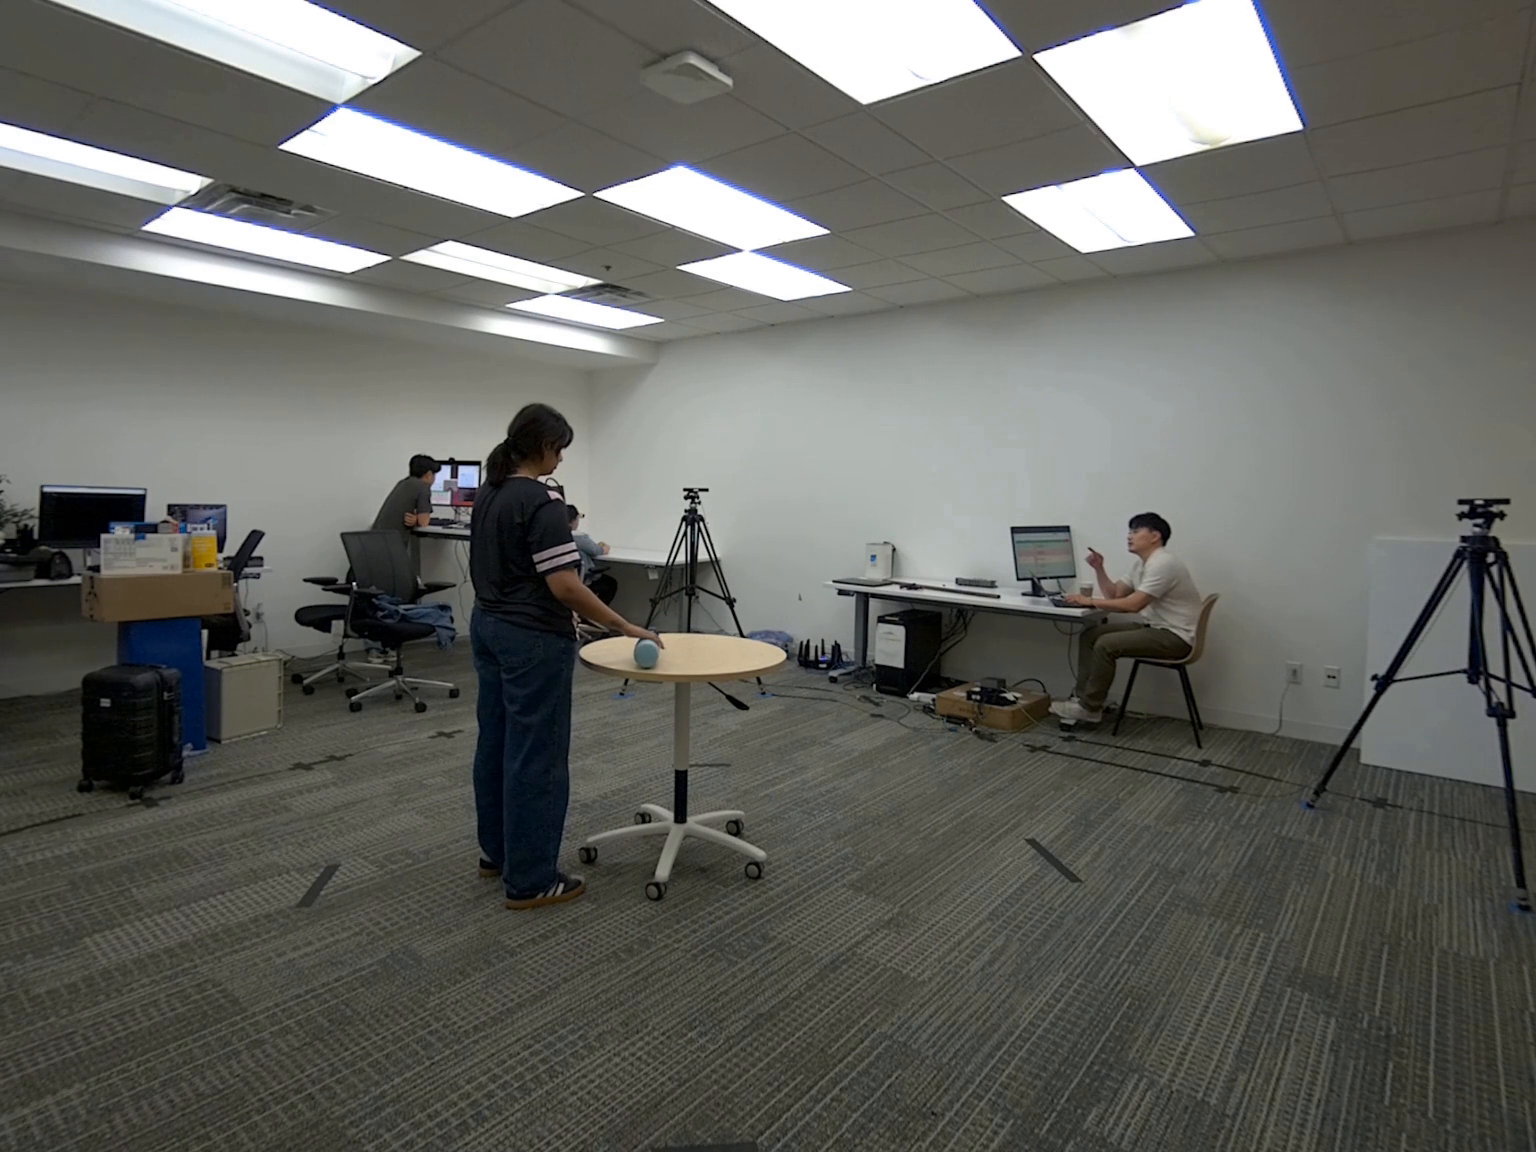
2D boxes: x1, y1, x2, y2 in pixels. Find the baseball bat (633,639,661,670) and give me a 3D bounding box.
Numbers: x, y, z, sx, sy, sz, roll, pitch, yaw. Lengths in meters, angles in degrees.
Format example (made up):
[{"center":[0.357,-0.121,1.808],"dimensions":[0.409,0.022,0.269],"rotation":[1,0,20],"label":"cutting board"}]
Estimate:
[{"center":[-0.448,0.250,3.092],"dimensions":[0.088,0.089,0.548],"rotation":[0,3,-8],"label":"baseball bat"}]
